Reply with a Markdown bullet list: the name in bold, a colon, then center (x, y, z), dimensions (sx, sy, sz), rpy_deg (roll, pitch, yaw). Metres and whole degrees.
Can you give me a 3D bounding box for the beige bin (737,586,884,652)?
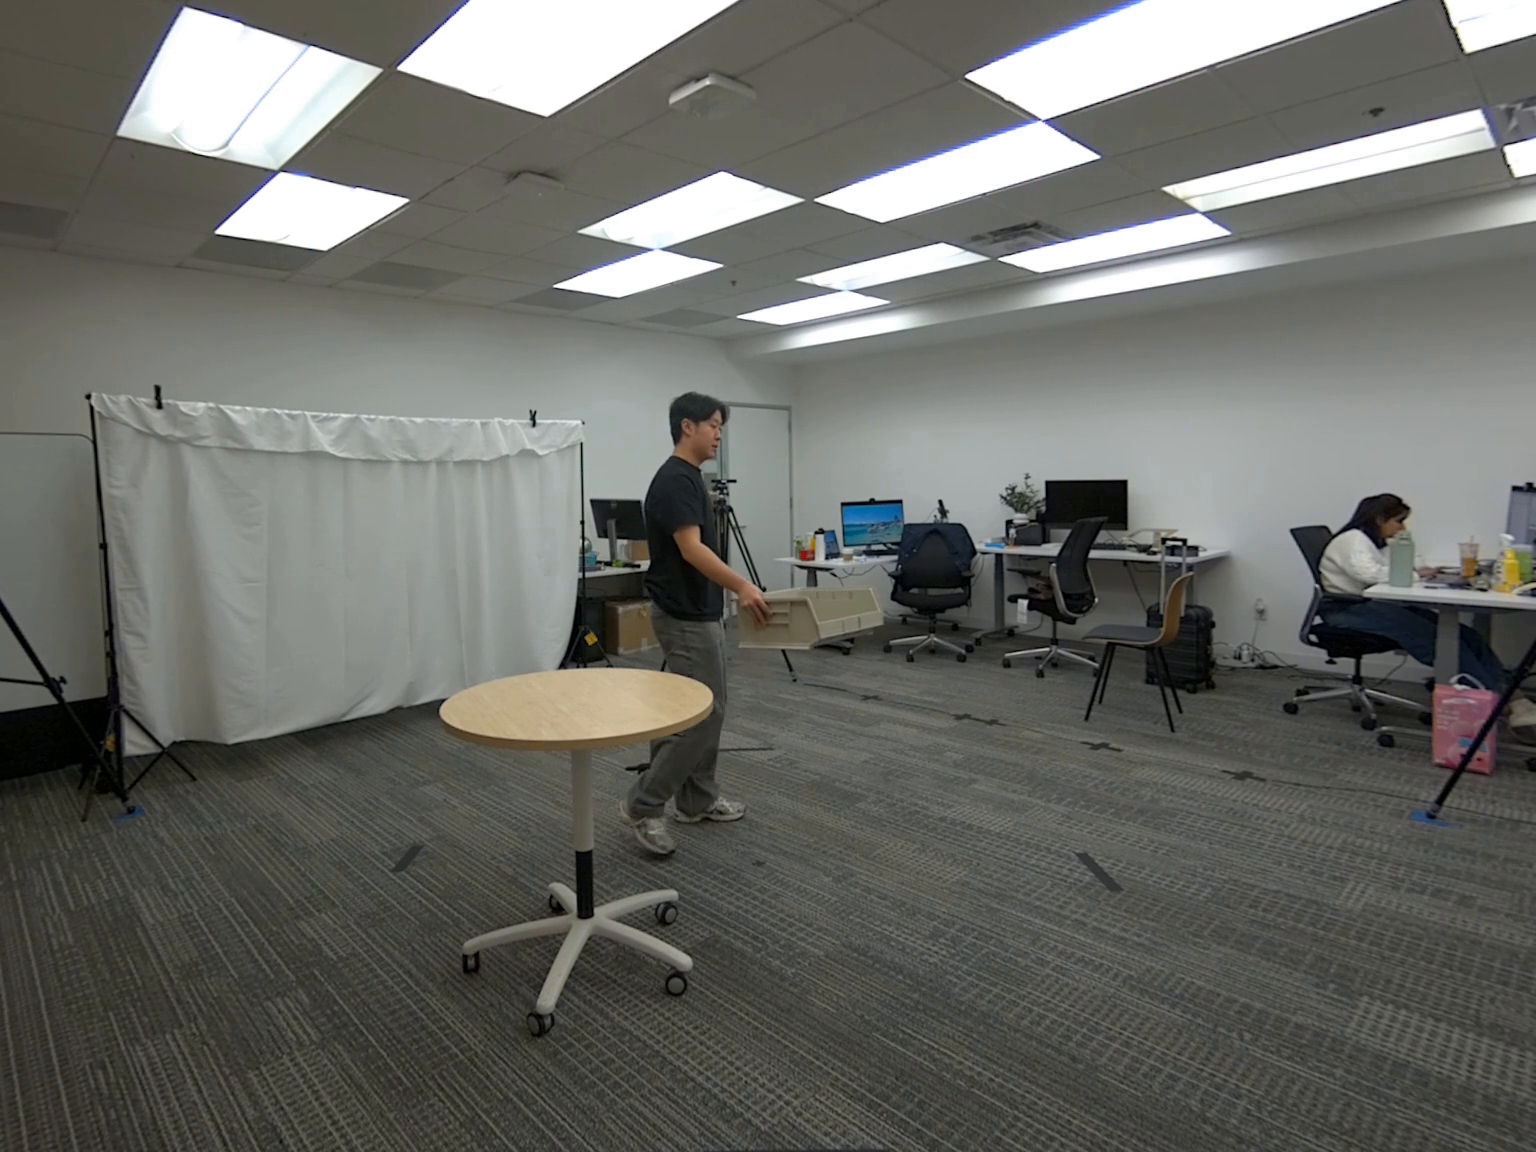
- **beige bin**: center (0.143, 0.150, 3.114), dimensions (0.387, 0.189, 0.412), rpy_deg (-5, 3, 40)
